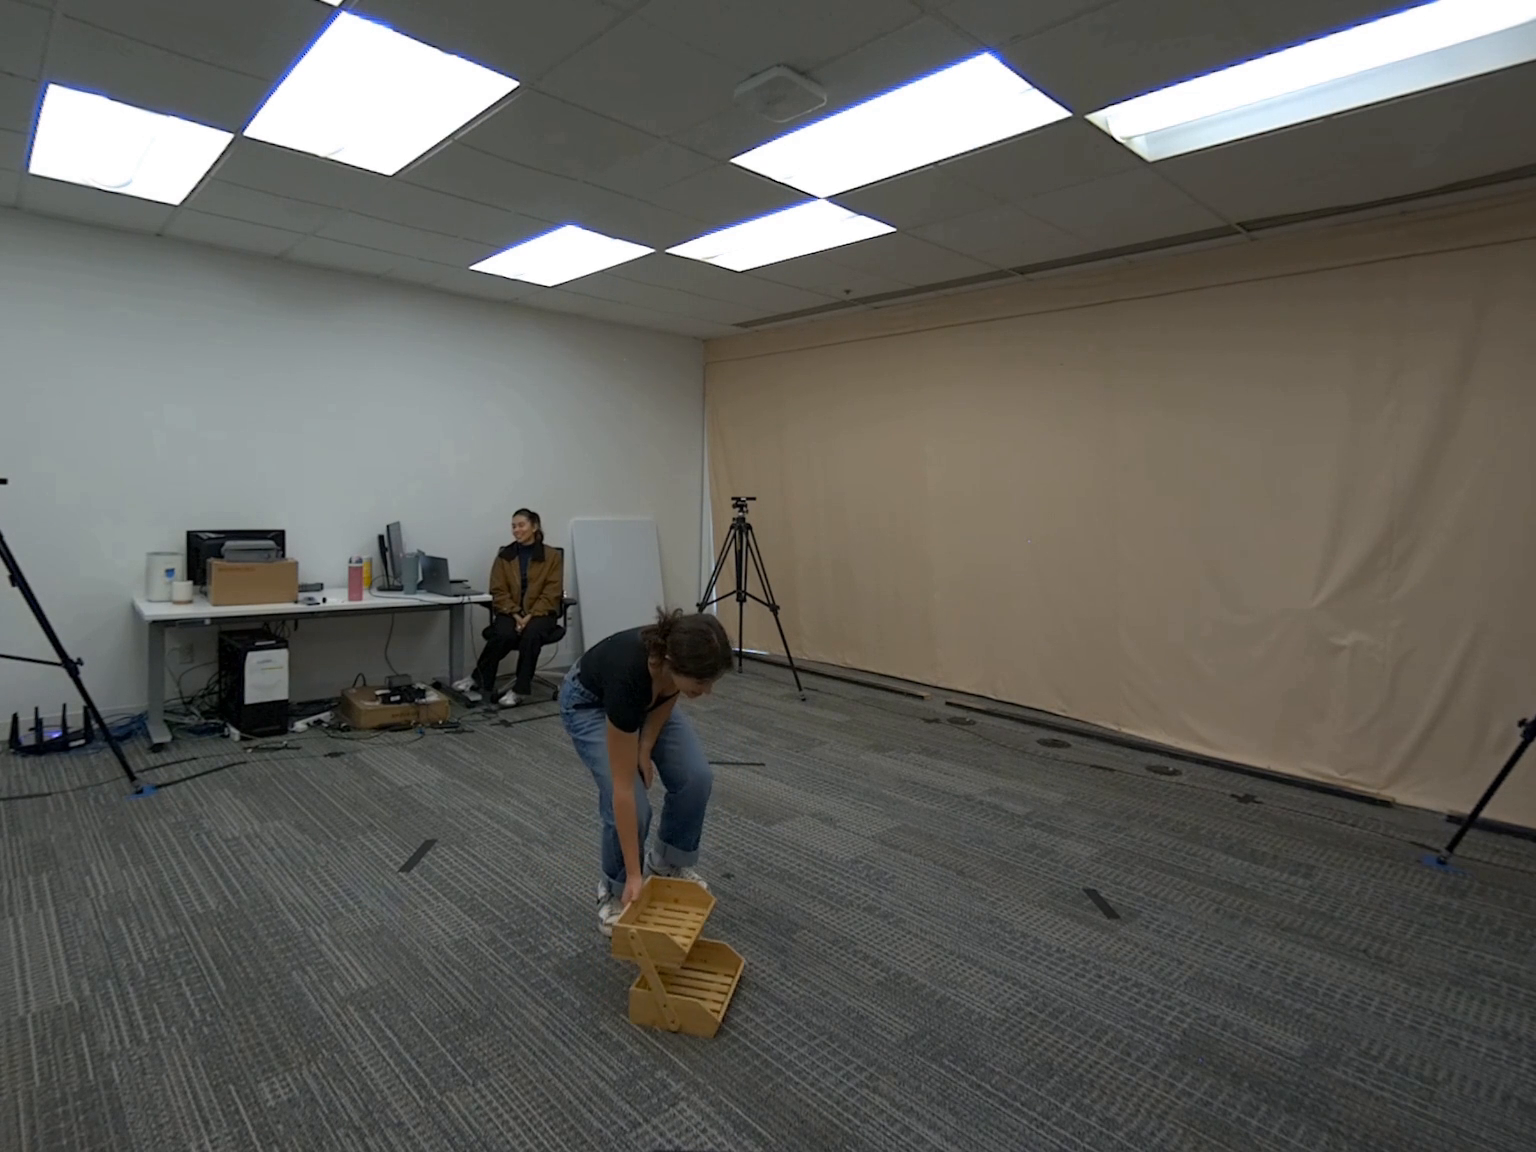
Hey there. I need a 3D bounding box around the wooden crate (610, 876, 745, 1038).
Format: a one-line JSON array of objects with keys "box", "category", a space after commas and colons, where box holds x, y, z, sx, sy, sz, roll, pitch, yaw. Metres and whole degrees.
[{"box": [-0.237, 1.045, 2.331, 0.305, 0.272, 0.322, 1, 5, 12], "category": "wooden crate"}]
